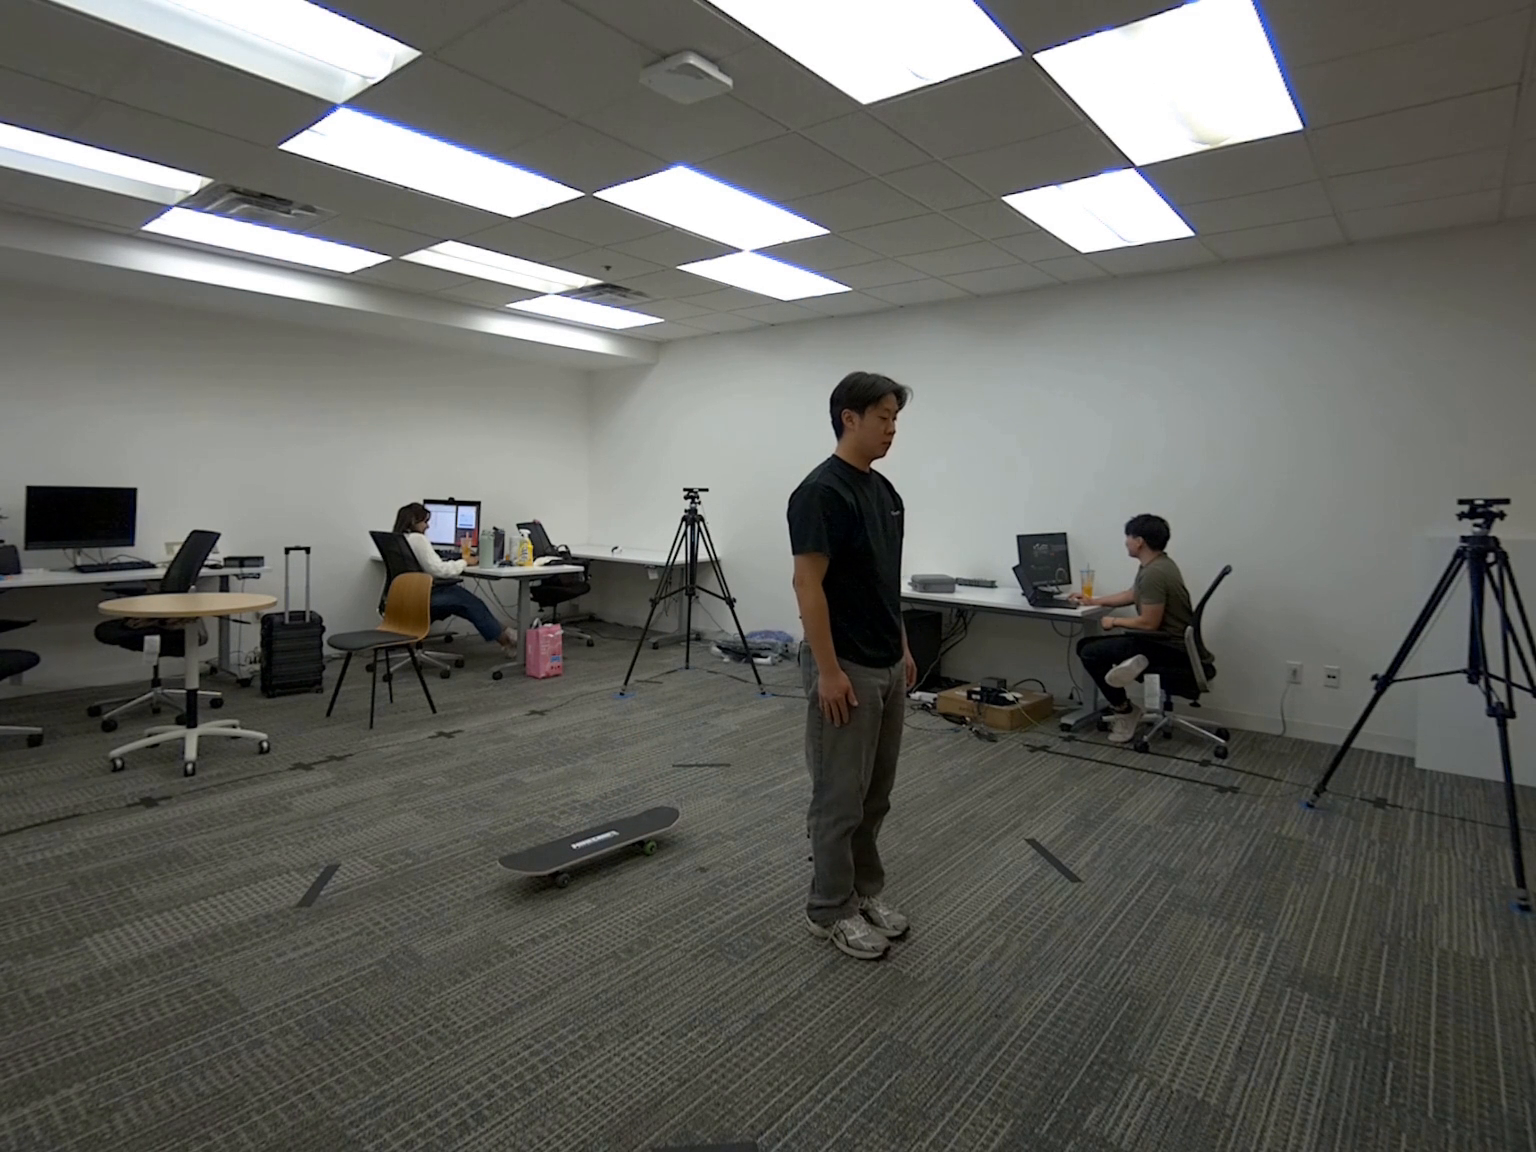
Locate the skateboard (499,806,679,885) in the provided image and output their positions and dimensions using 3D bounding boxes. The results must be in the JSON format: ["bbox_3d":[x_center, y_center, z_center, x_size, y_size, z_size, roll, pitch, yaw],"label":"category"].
[{"bbox_3d":[-0.644,1.002,3.142,0.200,0.110,0.762,6,7,43],"label":"skateboard"}]
